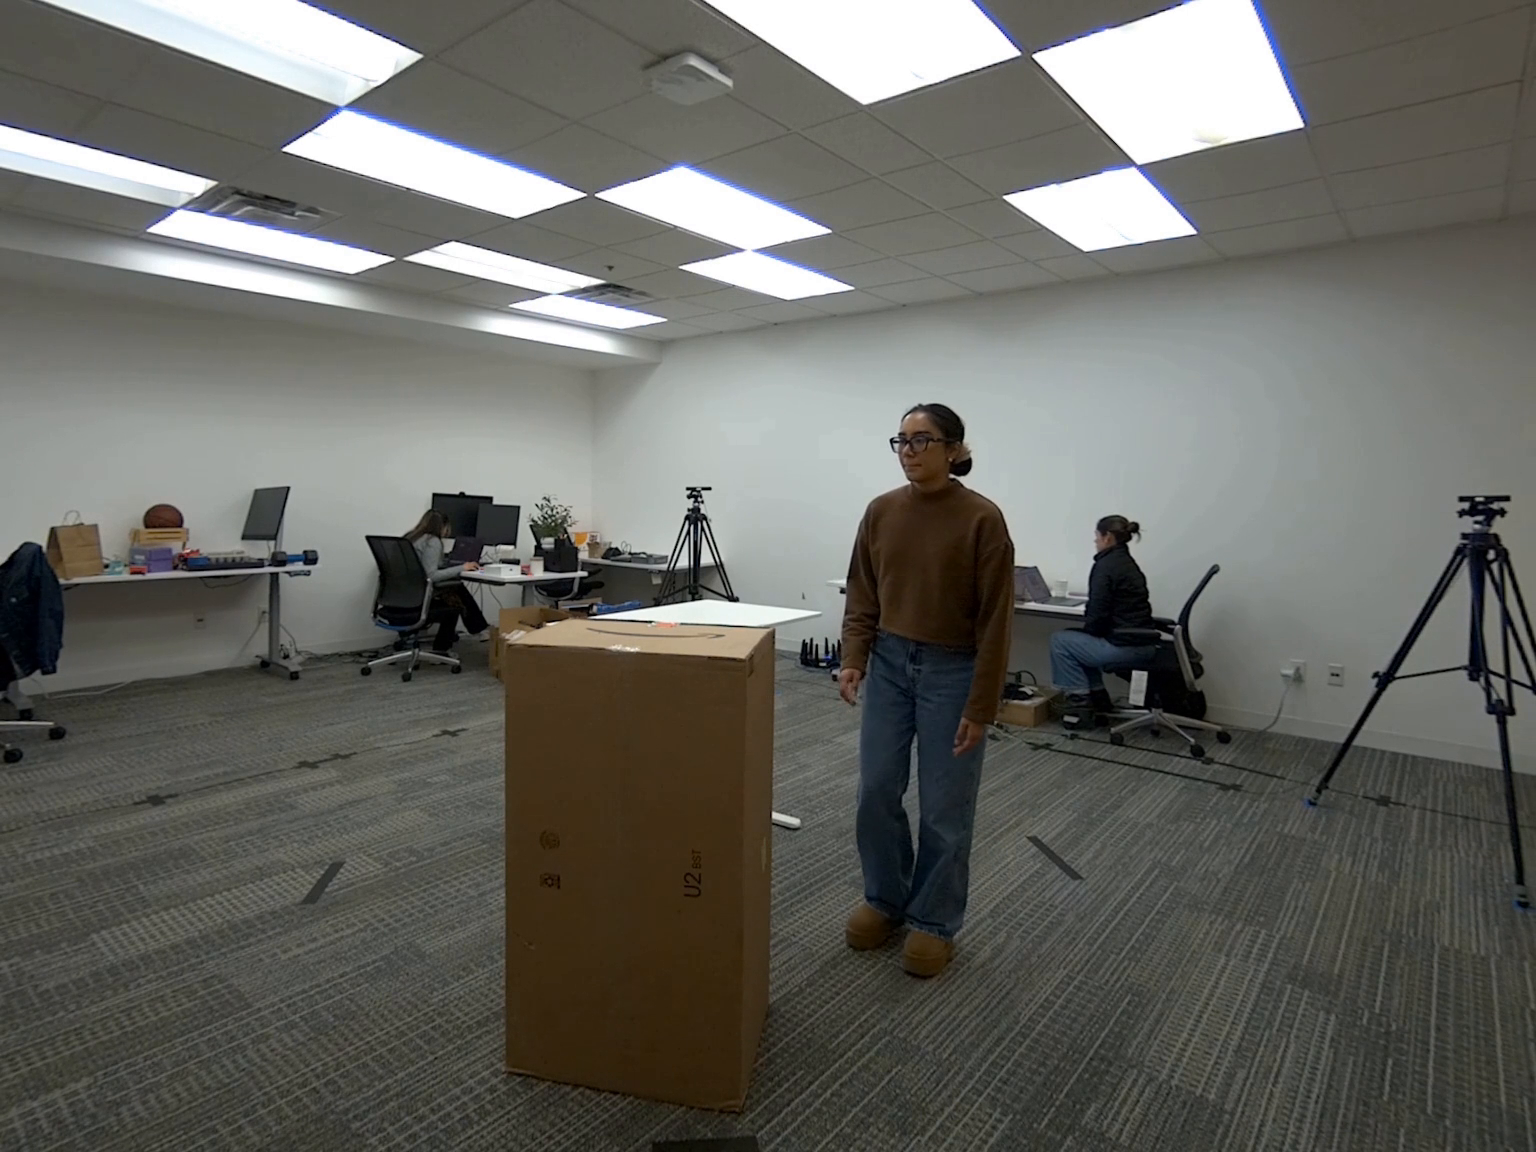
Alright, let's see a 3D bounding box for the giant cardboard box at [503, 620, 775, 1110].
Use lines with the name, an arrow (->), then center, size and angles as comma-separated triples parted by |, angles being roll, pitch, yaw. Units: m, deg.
giant cardboard box -> -0.307, 0.655, 2.125 | 0.585, 1.022, 0.422 | 1, 3, 11
